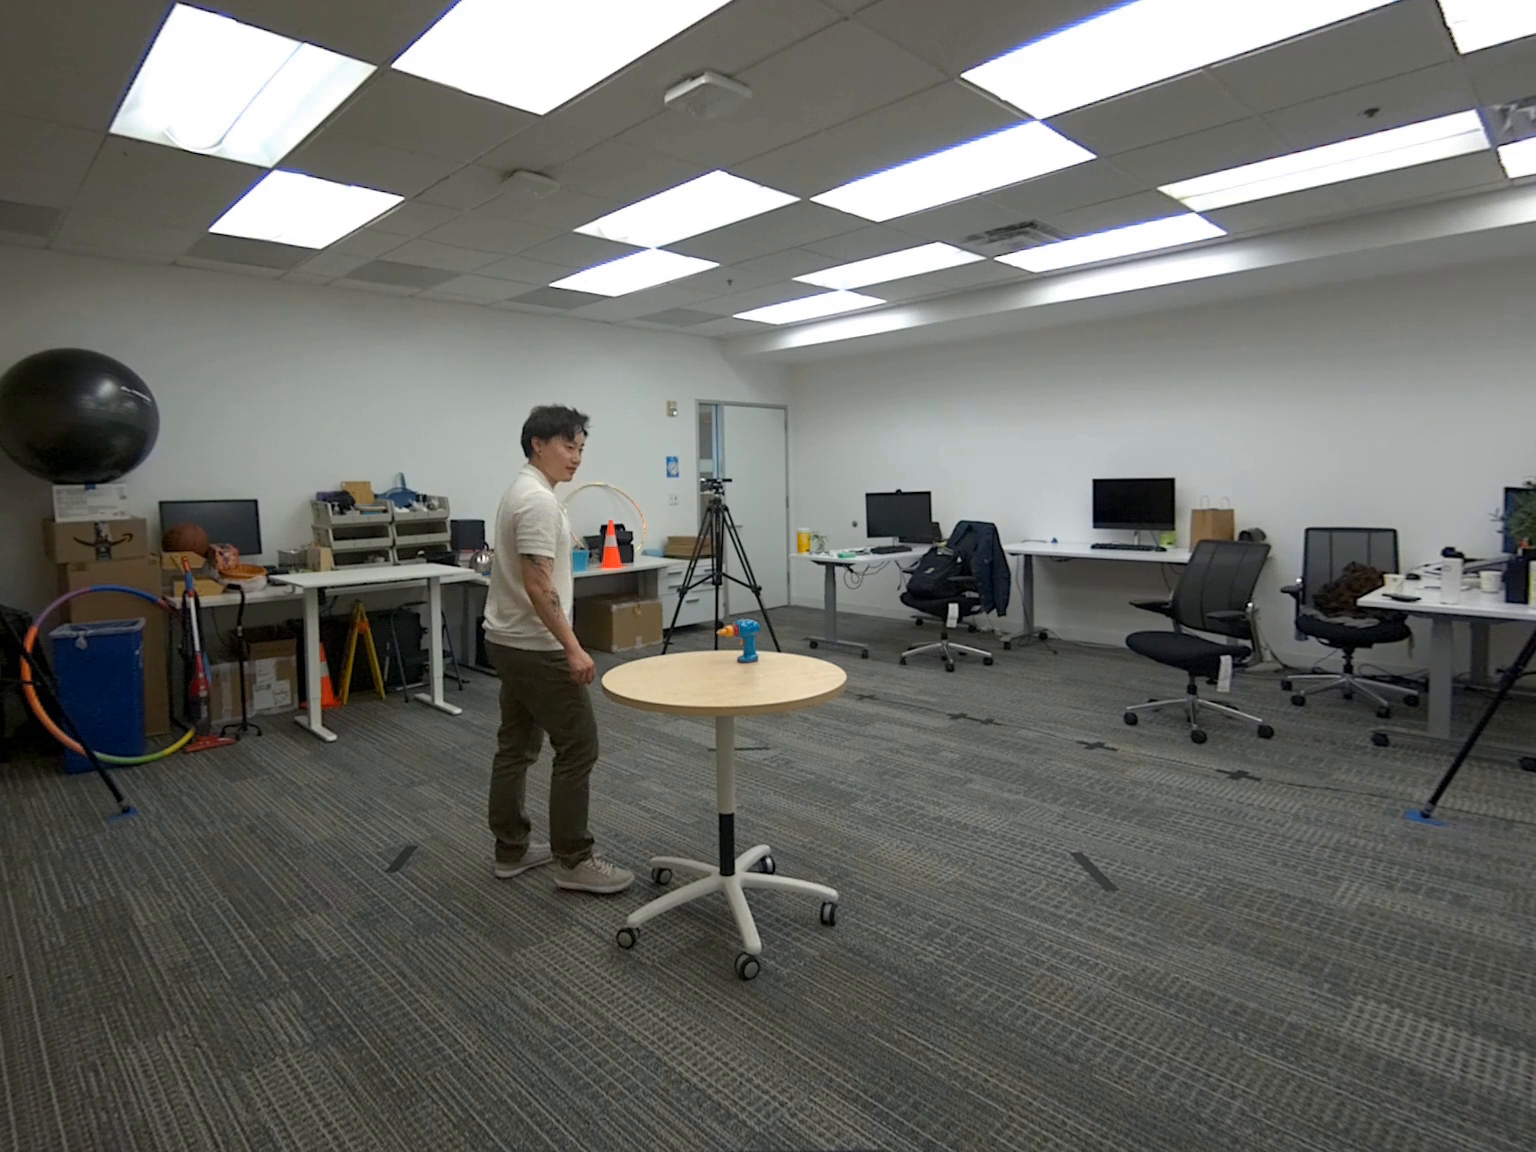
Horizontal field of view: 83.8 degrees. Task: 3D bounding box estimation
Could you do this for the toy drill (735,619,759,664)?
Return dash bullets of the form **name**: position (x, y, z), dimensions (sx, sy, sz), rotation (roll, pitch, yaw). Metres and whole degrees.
- **toy drill**: position (-0.099, 0.216, 2.854), dimensions (0.165, 0.145, 0.063), rotation (-3, 5, -34)
